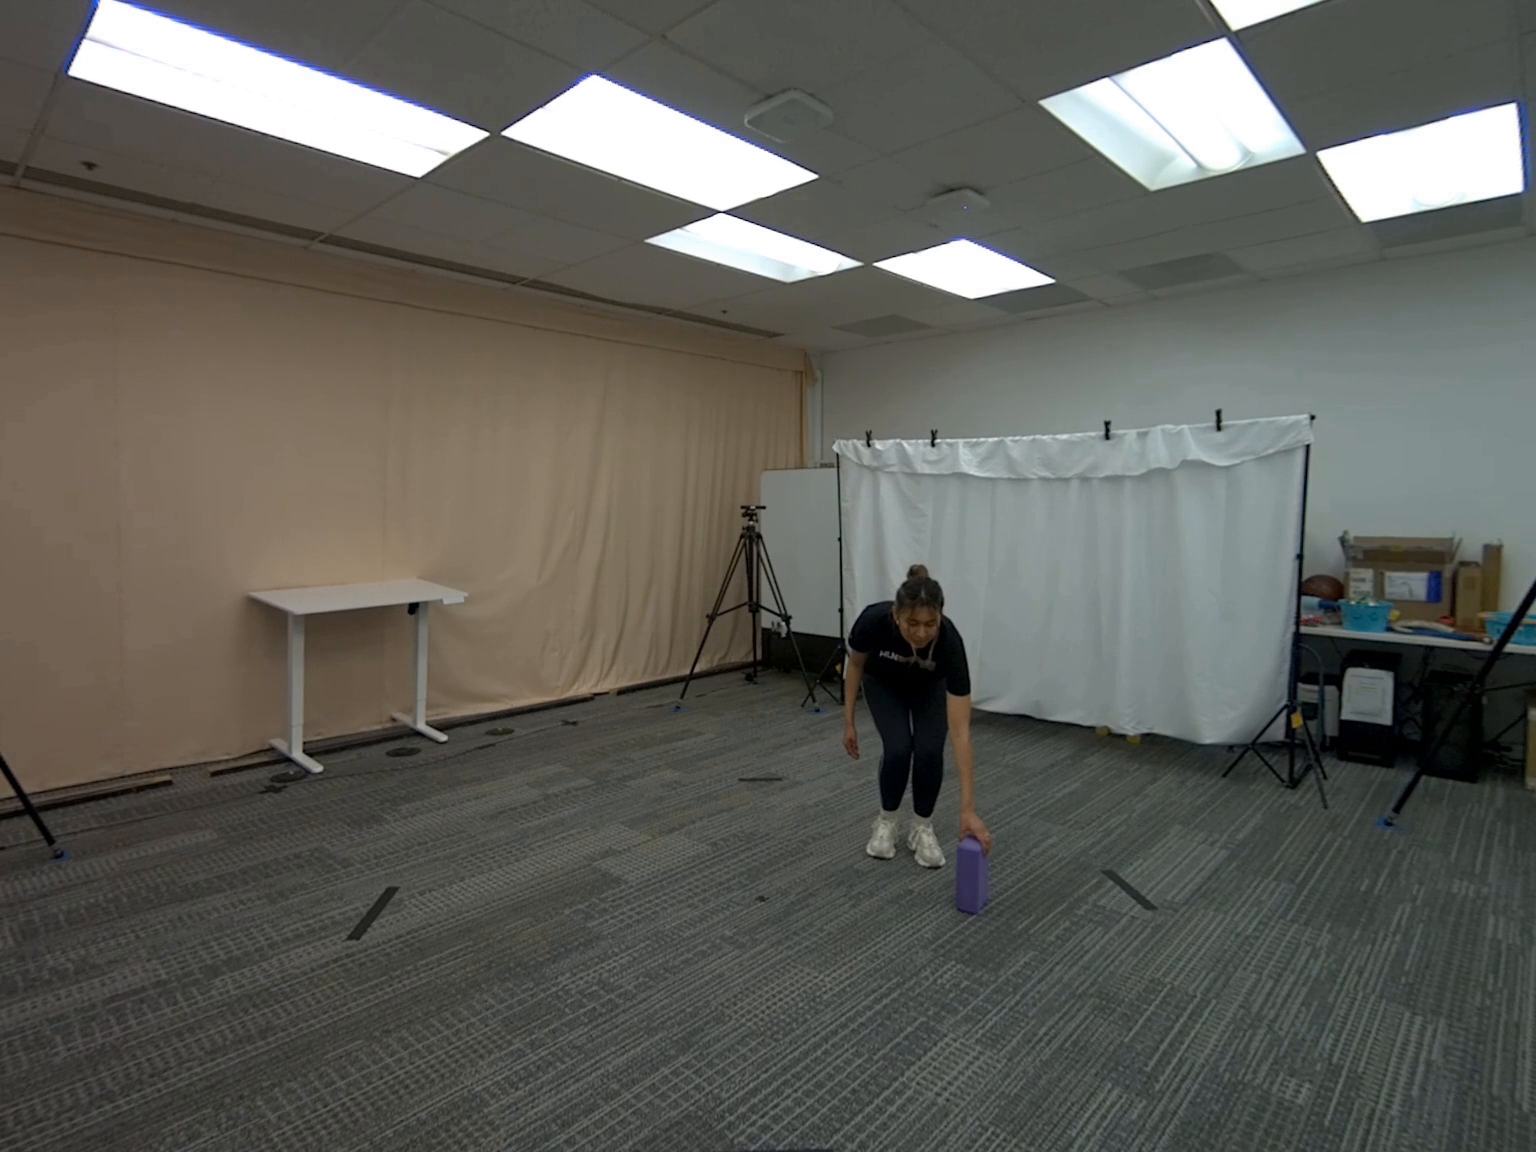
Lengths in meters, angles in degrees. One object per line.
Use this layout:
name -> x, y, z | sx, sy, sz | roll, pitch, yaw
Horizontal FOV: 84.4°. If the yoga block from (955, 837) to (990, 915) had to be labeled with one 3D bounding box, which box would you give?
yoga block -> 0.707, 1.014, 2.923 | 0.078, 0.229, 0.145 | 3, 6, 27
